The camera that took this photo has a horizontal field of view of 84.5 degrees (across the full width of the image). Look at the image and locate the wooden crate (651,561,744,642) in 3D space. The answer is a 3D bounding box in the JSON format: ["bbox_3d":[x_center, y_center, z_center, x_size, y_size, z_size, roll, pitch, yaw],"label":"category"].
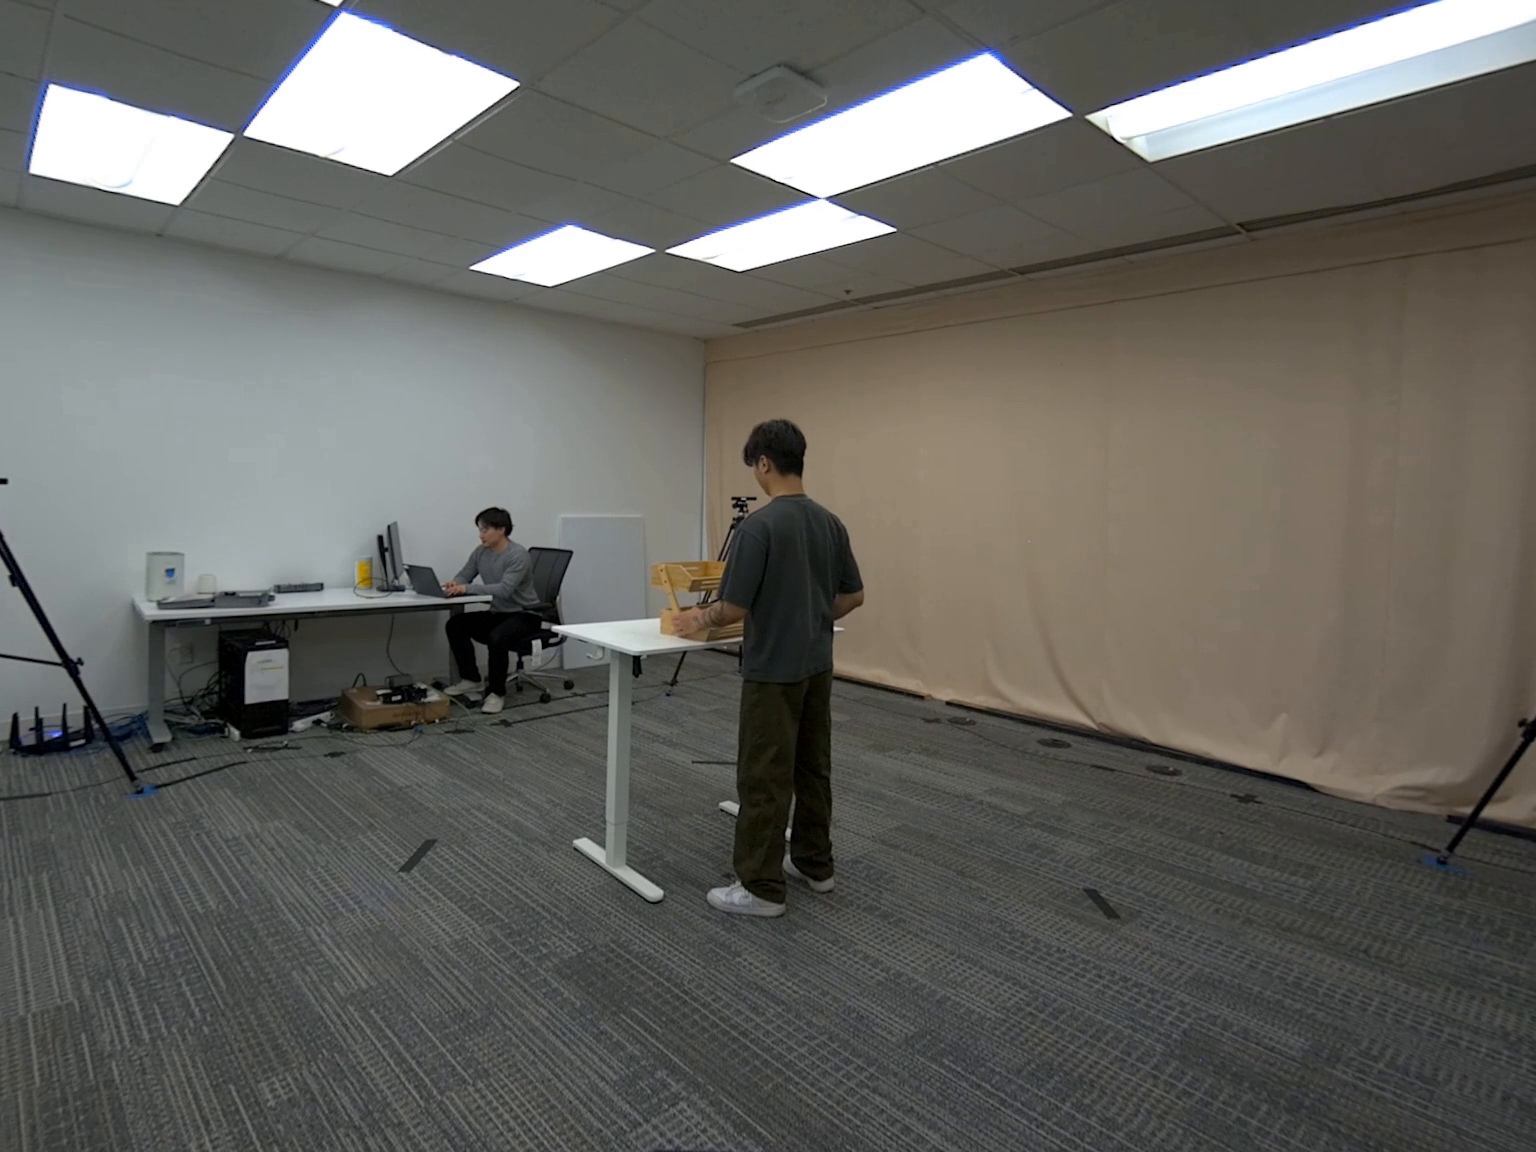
[{"bbox_3d":[-0.232,0.084,3.178,0.309,0.273,0.317,4,4,39],"label":"wooden crate"}]
